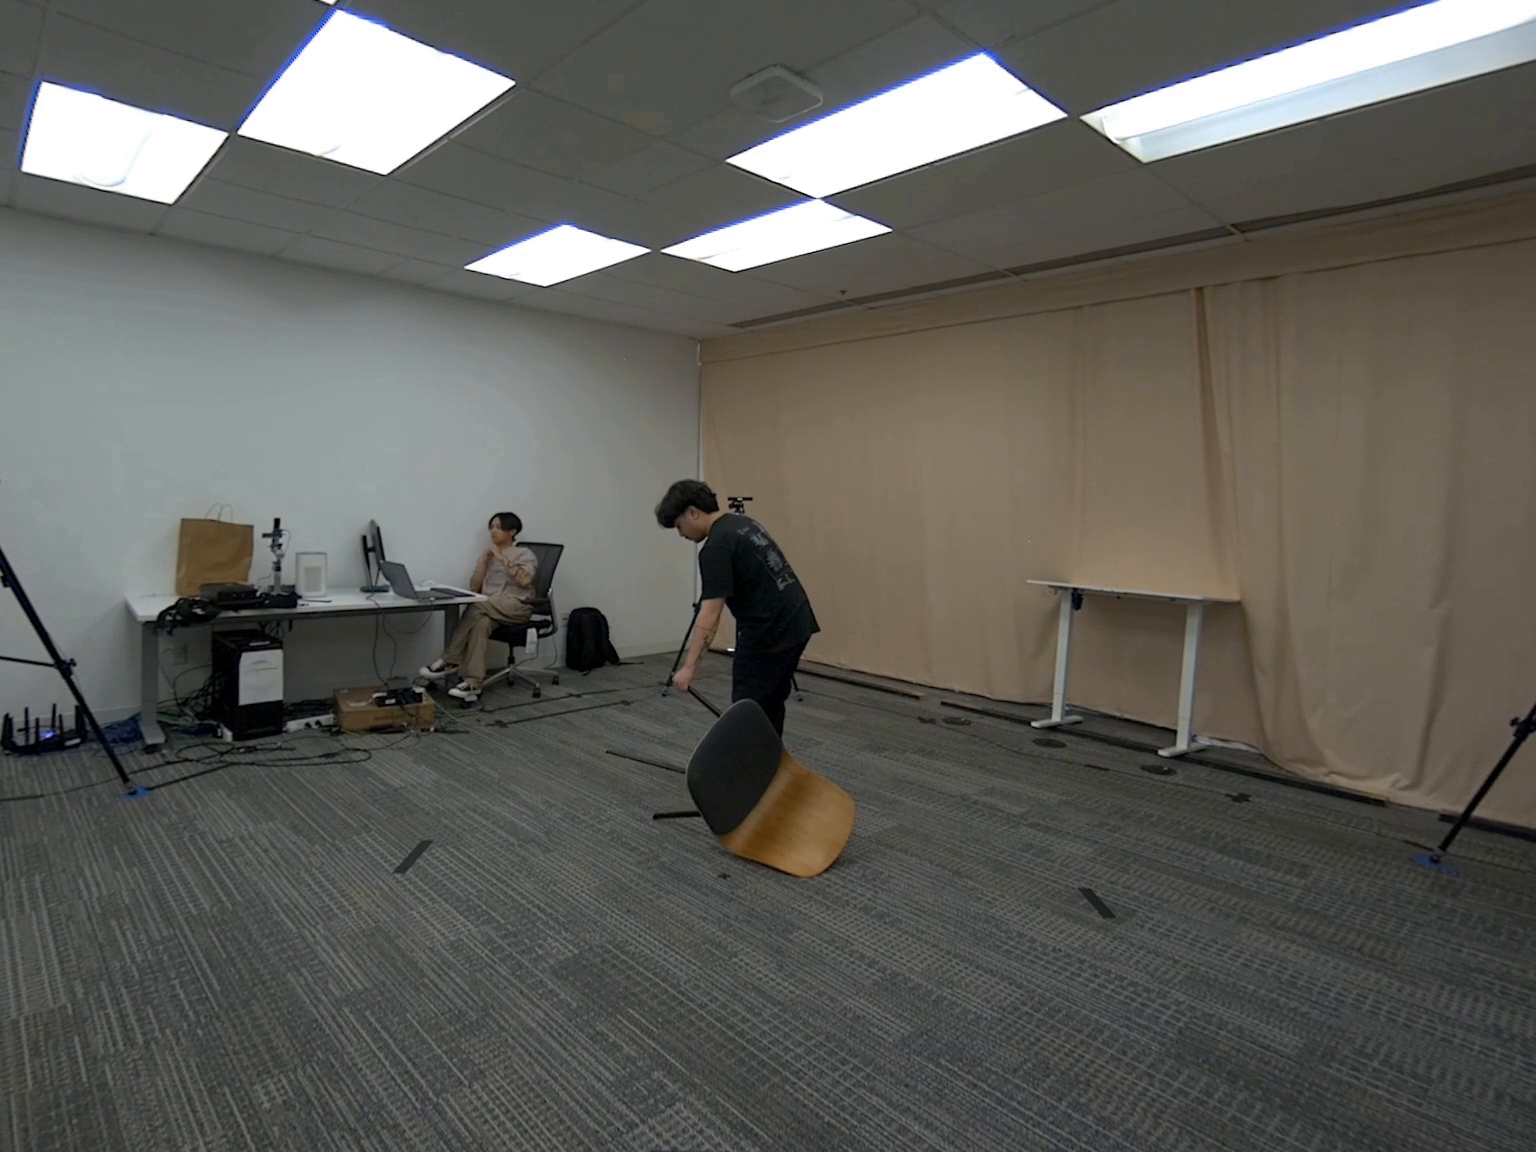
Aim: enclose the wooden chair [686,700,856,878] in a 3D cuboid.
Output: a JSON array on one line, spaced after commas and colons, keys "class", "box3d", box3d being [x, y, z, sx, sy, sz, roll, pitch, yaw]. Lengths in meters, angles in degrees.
[{"class": "wooden chair", "box3d": [-0.142, 0.788, 3.352, 0.901, 0.509, 0.478, 12, 47, 40]}]
